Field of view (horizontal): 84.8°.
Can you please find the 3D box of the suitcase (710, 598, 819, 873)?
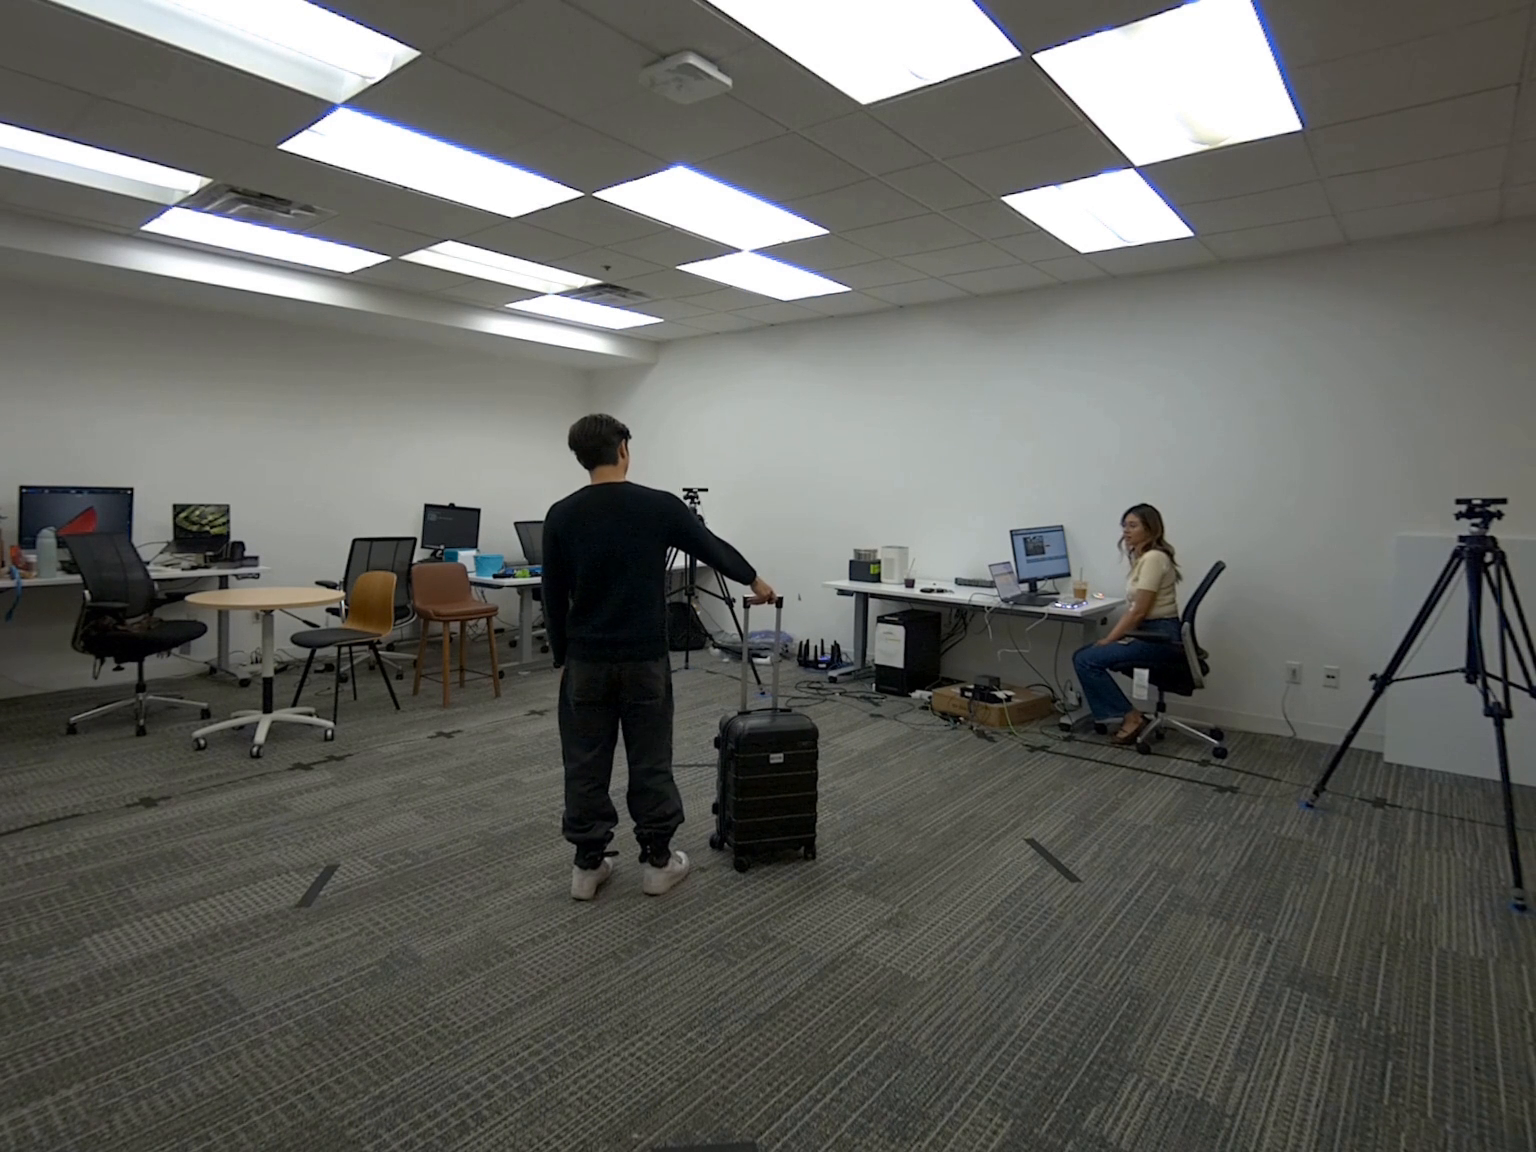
[{"bbox_3d":[-0.007,0.585,3.232,0.377,0.974,0.263,0,5,-17],"label":"suitcase"}]
